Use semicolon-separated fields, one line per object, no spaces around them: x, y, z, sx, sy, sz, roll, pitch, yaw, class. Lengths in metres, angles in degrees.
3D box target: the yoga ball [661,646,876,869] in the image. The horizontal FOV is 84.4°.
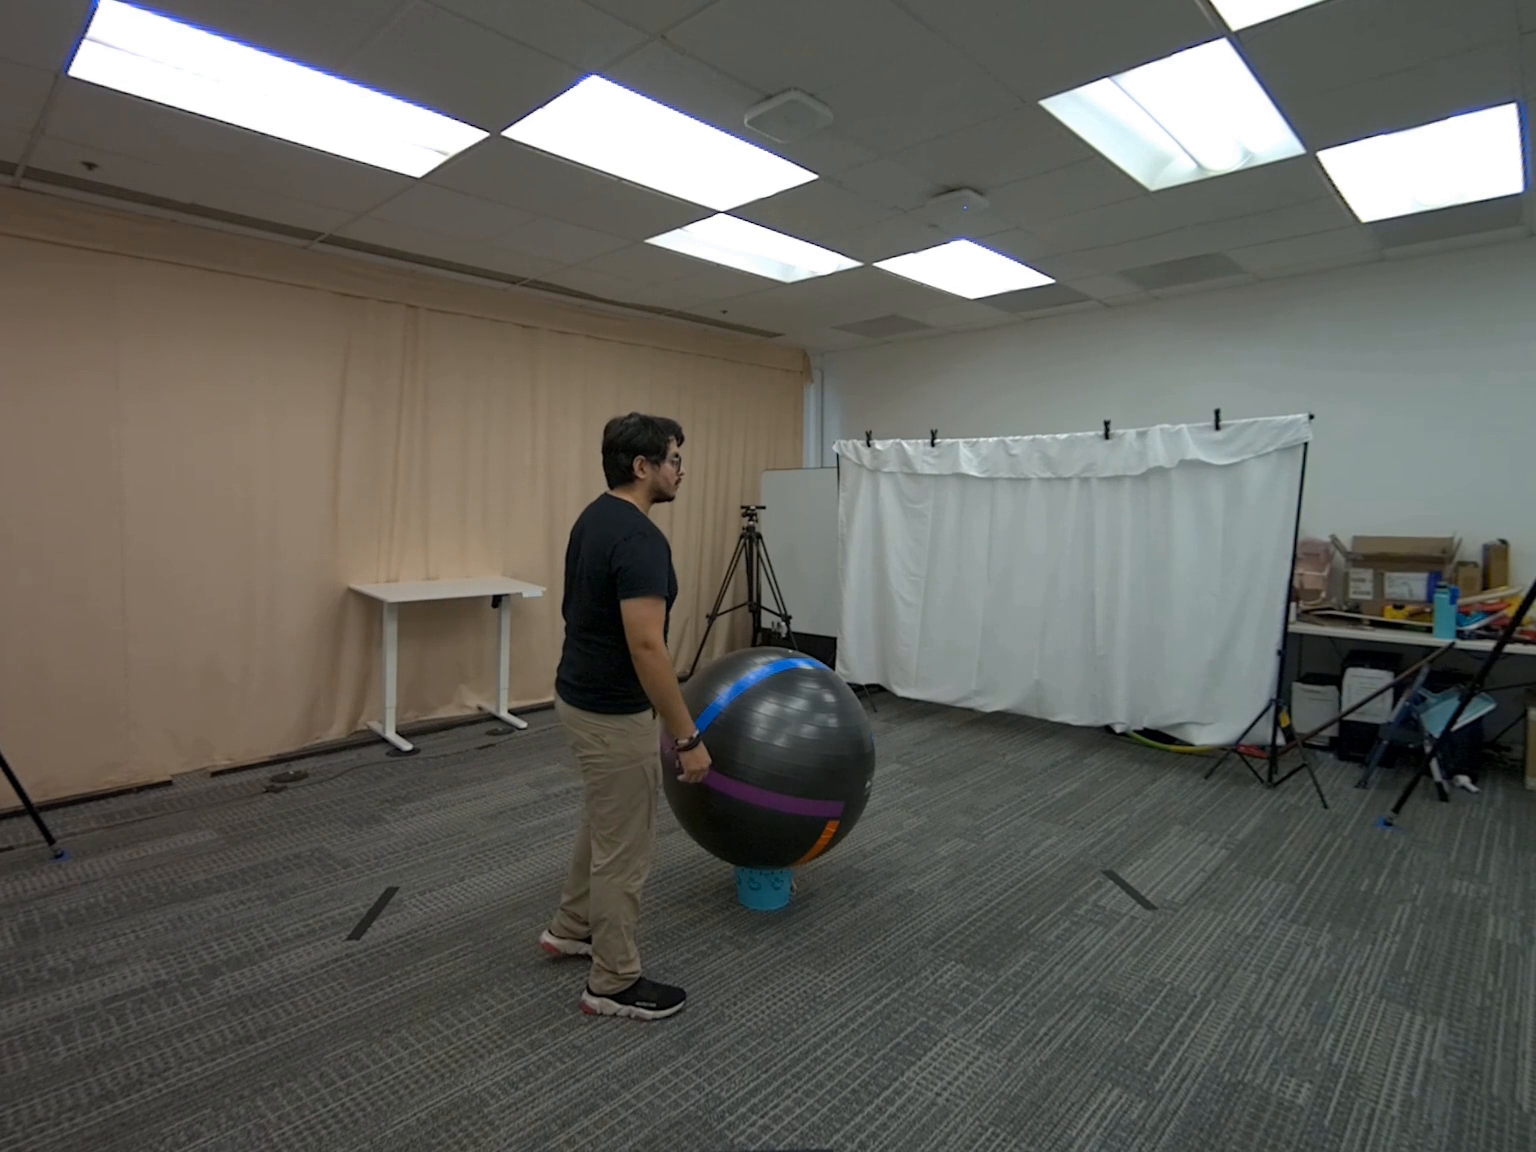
0.004;0.635;2.964;0.757;0.756;0.760;0;4;-2;yoga ball
